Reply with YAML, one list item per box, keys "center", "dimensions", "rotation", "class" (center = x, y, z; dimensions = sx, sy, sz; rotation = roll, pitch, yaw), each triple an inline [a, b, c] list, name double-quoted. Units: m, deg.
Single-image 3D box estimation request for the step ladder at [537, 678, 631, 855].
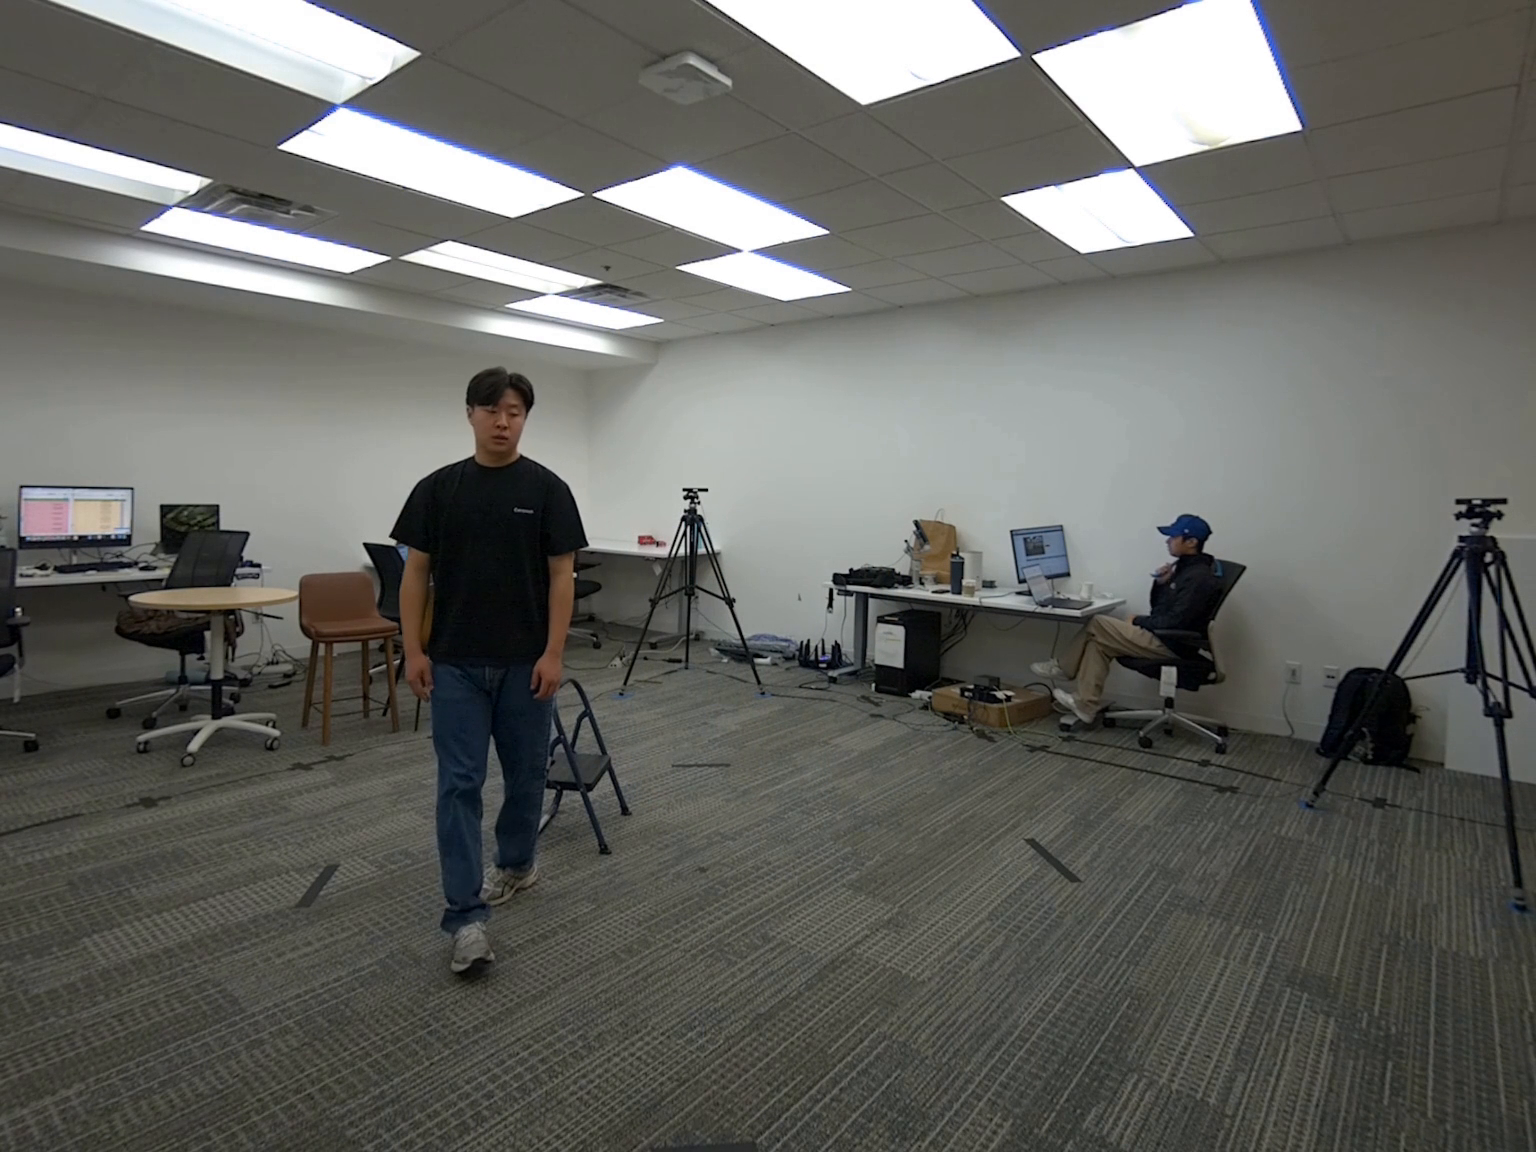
- center: [-0.772, 0.727, 3.433]
  dimensions: [0.351, 0.605, 0.430]
  rotation: [1, 3, 3]
  class: "step ladder"
